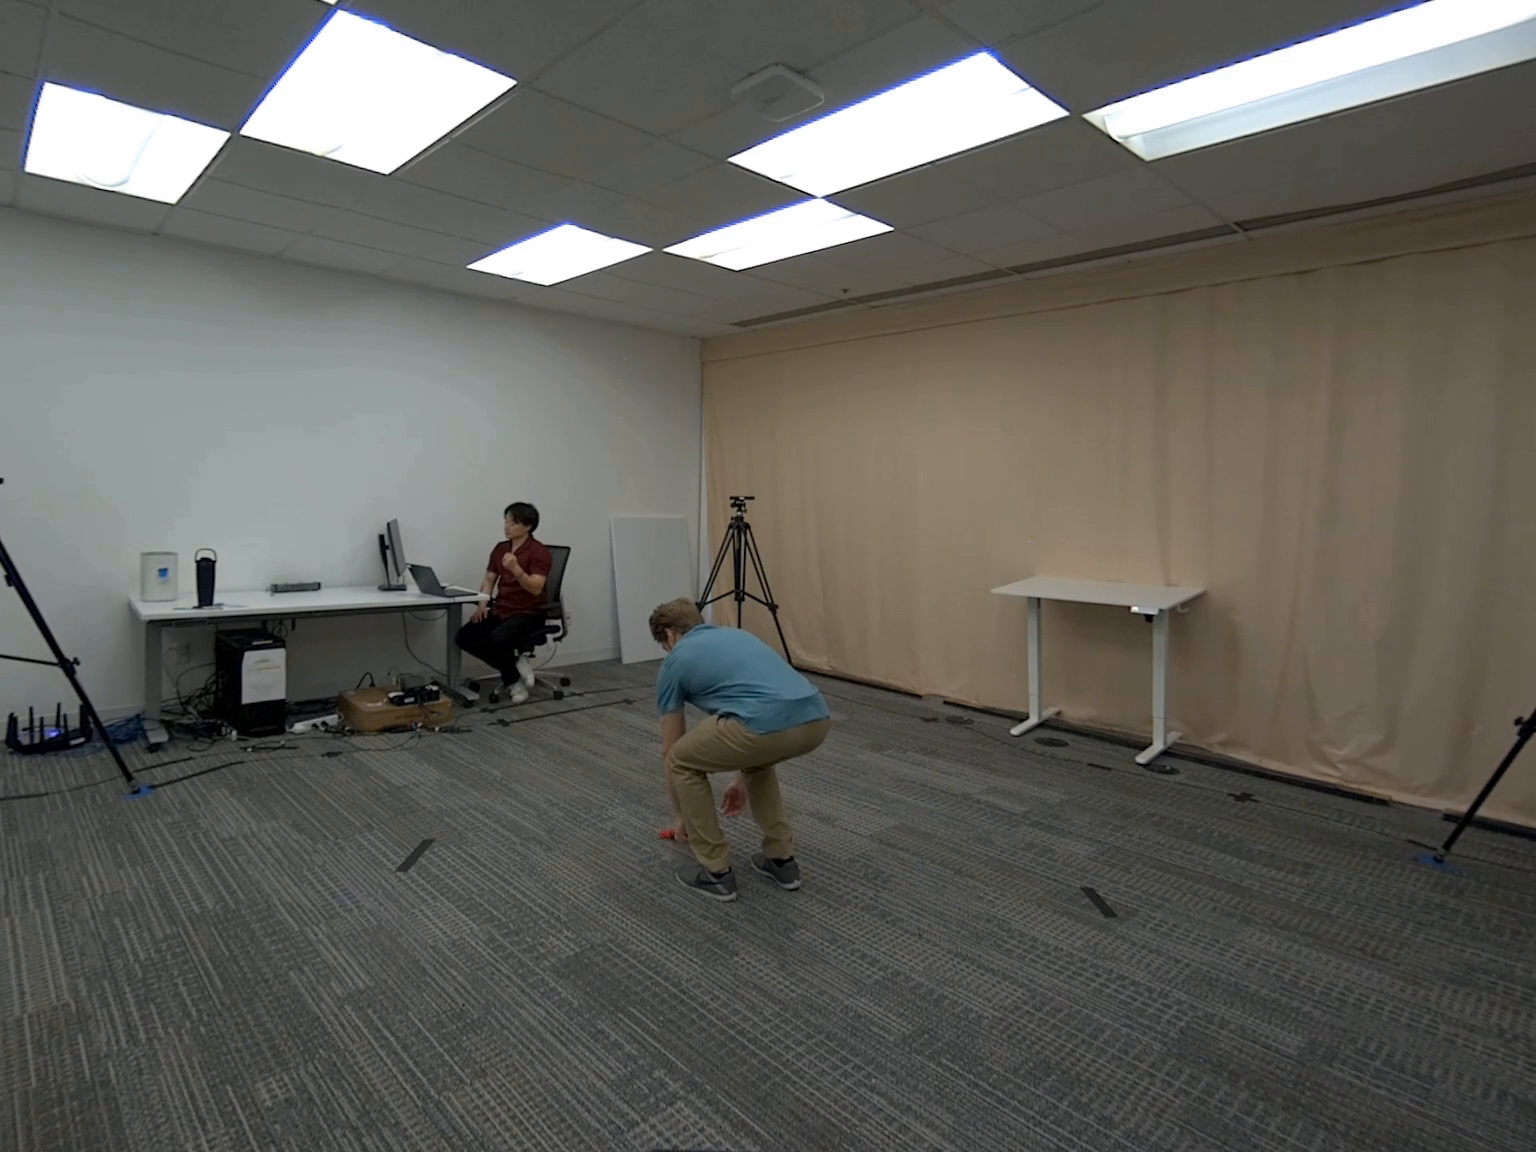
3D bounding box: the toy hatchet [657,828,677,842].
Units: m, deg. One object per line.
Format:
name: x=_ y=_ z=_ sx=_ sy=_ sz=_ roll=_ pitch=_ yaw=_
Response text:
toy hatchet: x=-0.325 y=1.033 z=3.356 sx=0.128 sy=0.030 sz=0.275 roll=2 pitch=-7 yaw=-34
